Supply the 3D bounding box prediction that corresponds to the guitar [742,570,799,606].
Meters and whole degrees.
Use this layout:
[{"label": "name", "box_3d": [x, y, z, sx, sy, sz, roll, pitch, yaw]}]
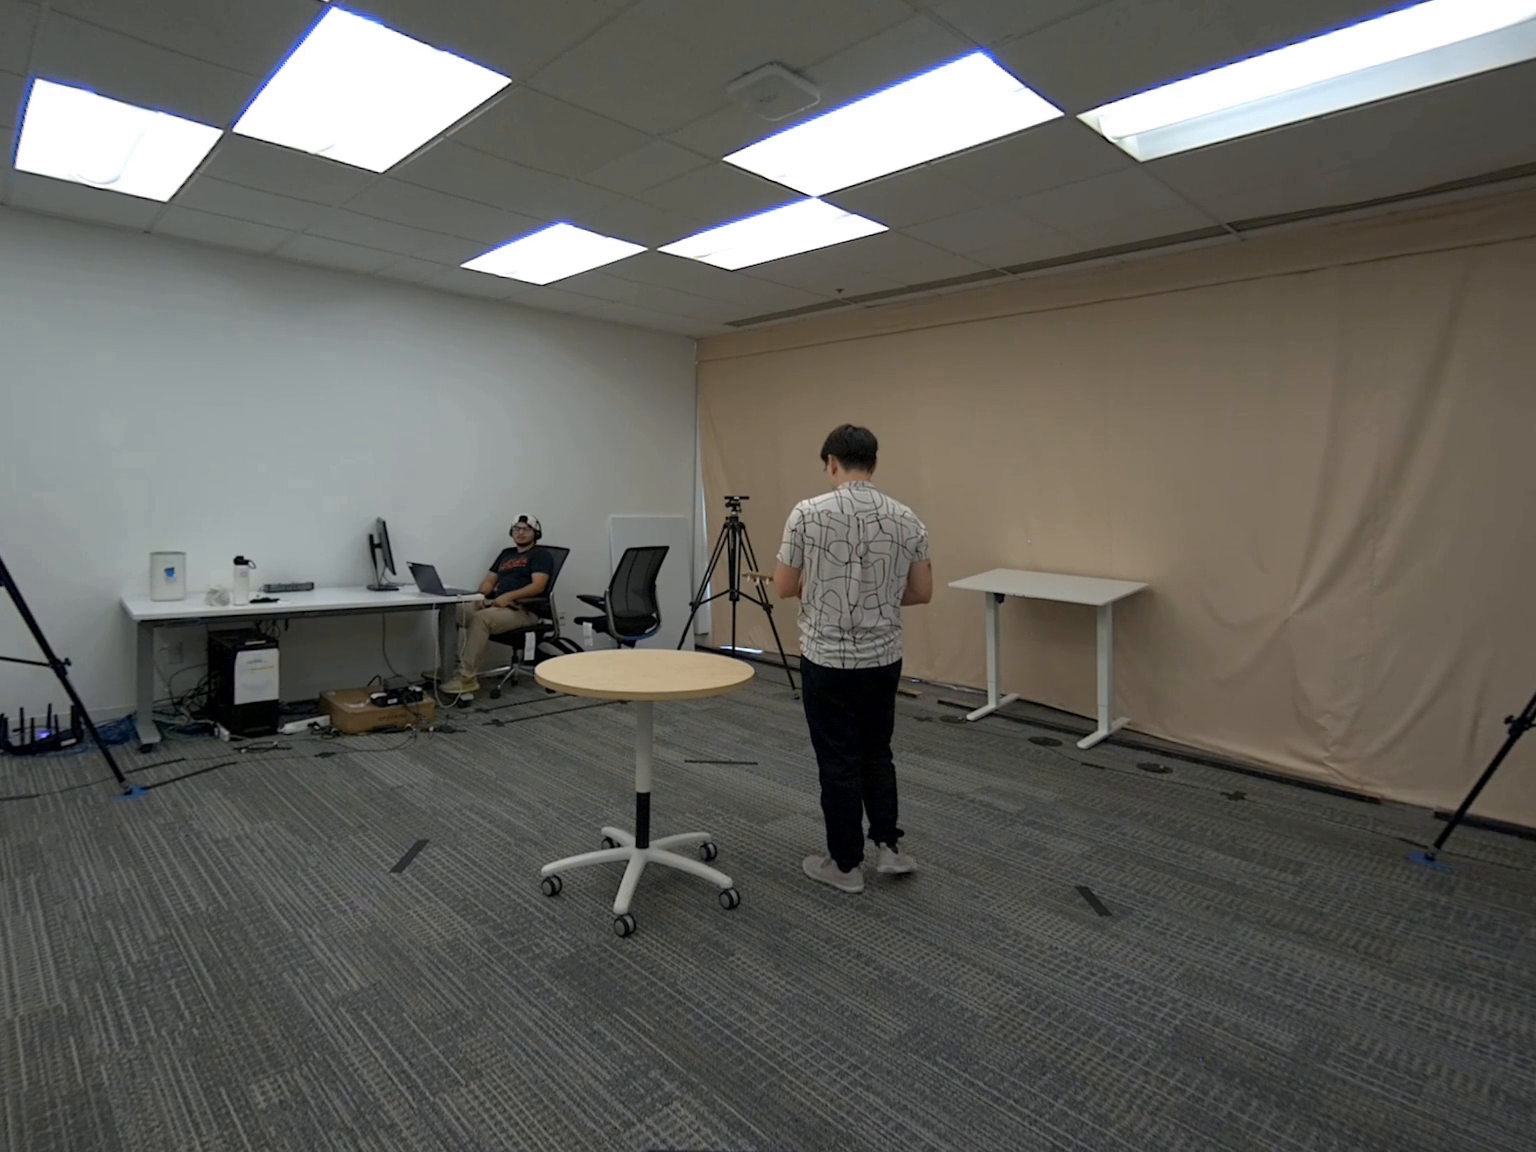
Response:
[{"label": "guitar", "box_3d": [0.152, 0.065, 3.328, 0.500, 0.071, 0.190, 7, -15, 4]}]
